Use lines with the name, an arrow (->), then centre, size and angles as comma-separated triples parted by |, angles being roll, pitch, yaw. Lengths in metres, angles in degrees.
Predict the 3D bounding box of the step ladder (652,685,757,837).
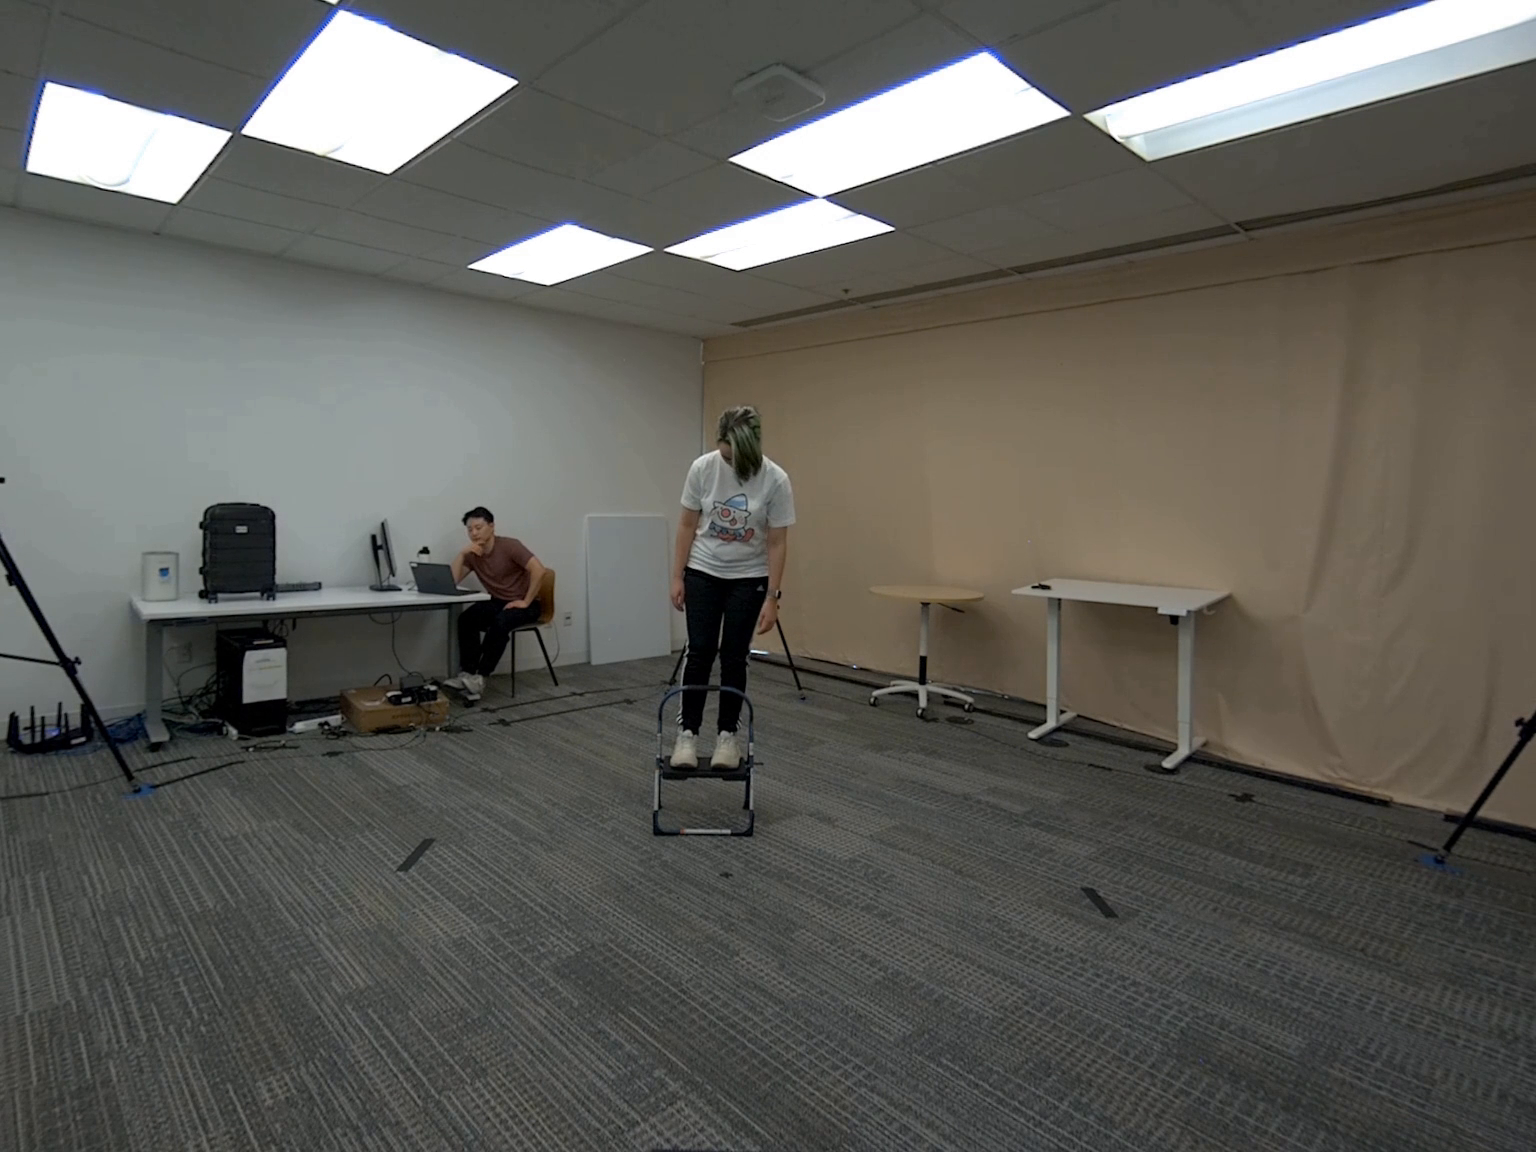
step ladder -> -0.283, 0.759, 3.614 | 0.429, 0.605, 0.351 | 1, 2, -4
